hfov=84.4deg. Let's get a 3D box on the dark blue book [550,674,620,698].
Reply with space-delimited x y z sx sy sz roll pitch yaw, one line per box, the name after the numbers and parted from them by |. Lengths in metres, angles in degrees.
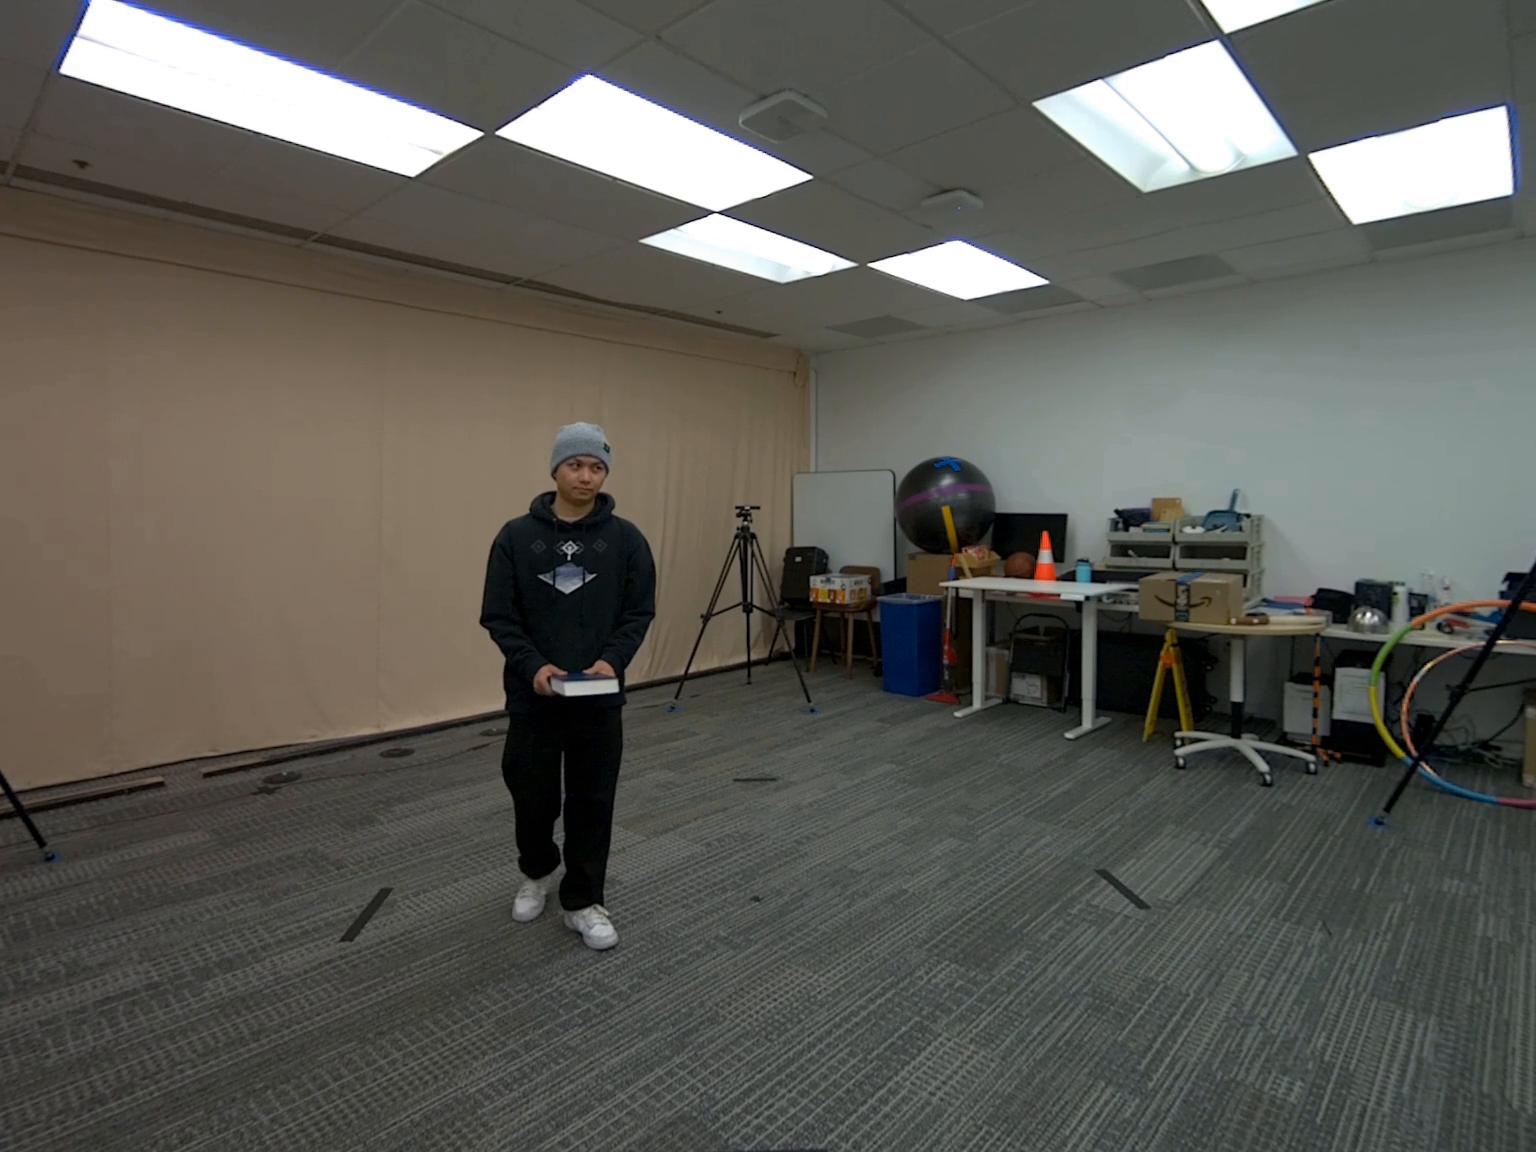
-0.557 0.313 2.474 0.160 0.045 0.250 0 -1 -23 | dark blue book
